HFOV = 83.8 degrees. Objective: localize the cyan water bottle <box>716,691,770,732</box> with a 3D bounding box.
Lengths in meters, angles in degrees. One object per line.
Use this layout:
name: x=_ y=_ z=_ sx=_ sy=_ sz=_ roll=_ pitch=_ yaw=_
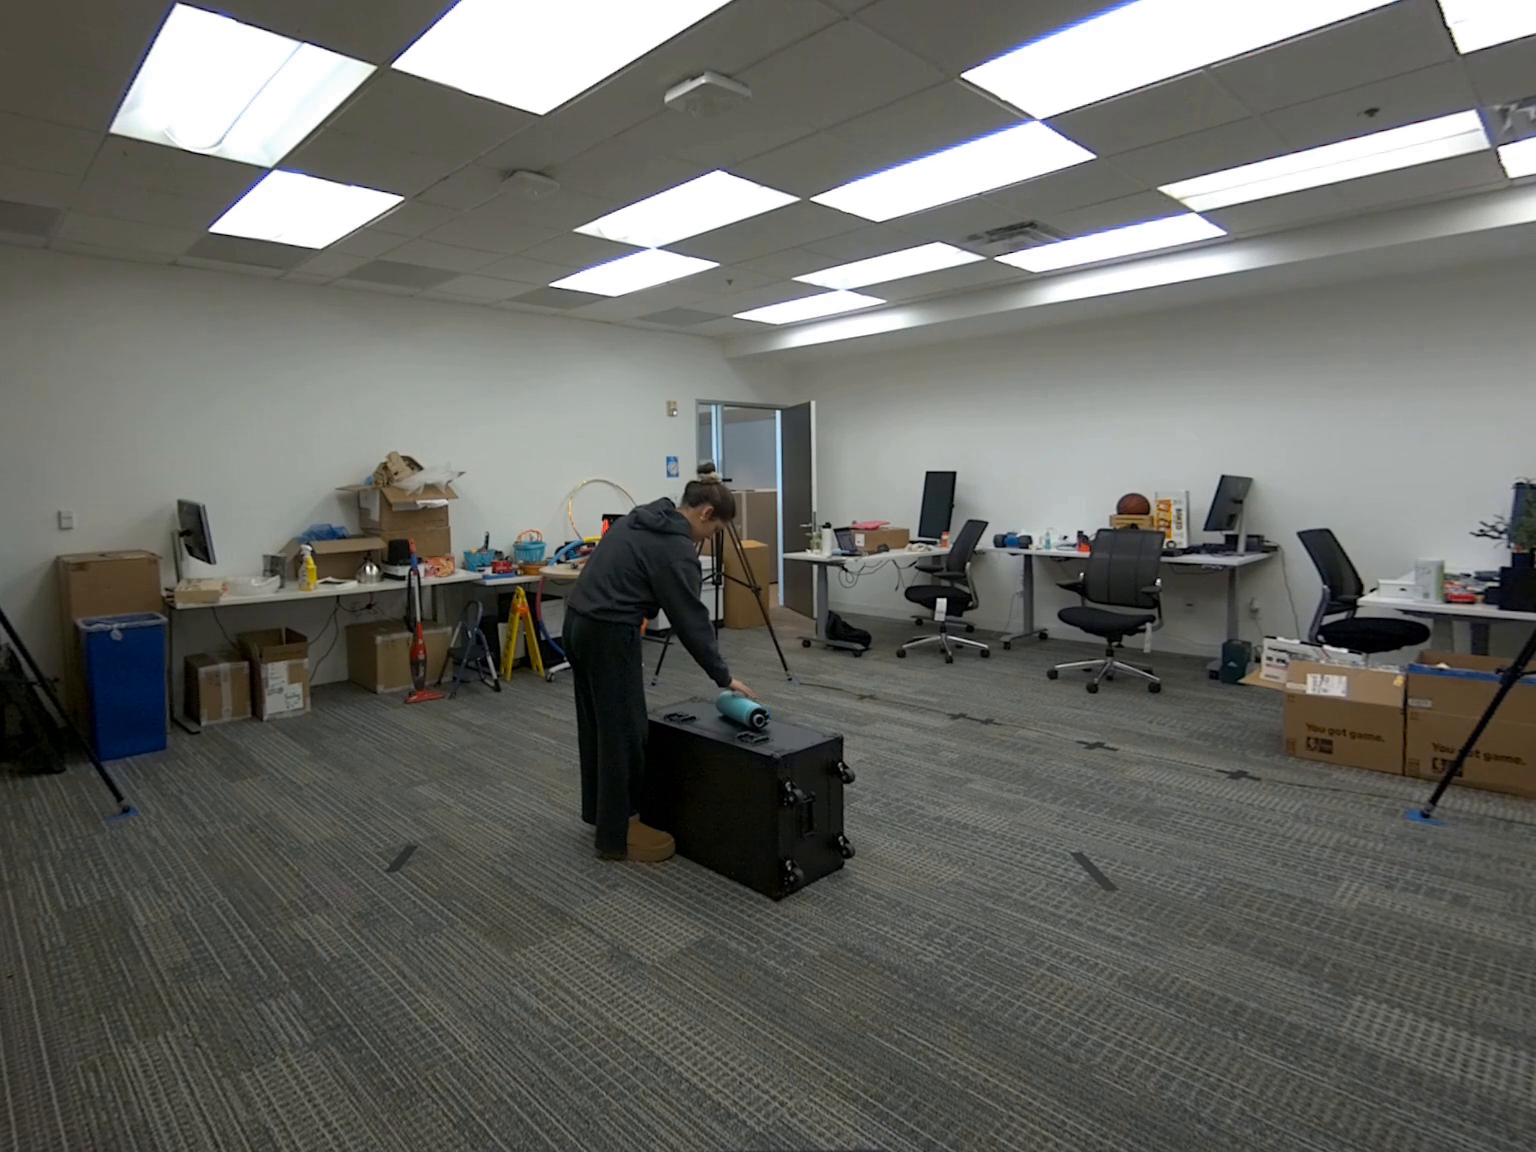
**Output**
cyan water bottle: x=-0.091 y=0.500 z=3.190 sx=0.090 sy=0.092 sz=0.291 roll=-3 pitch=6 yaw=-31
